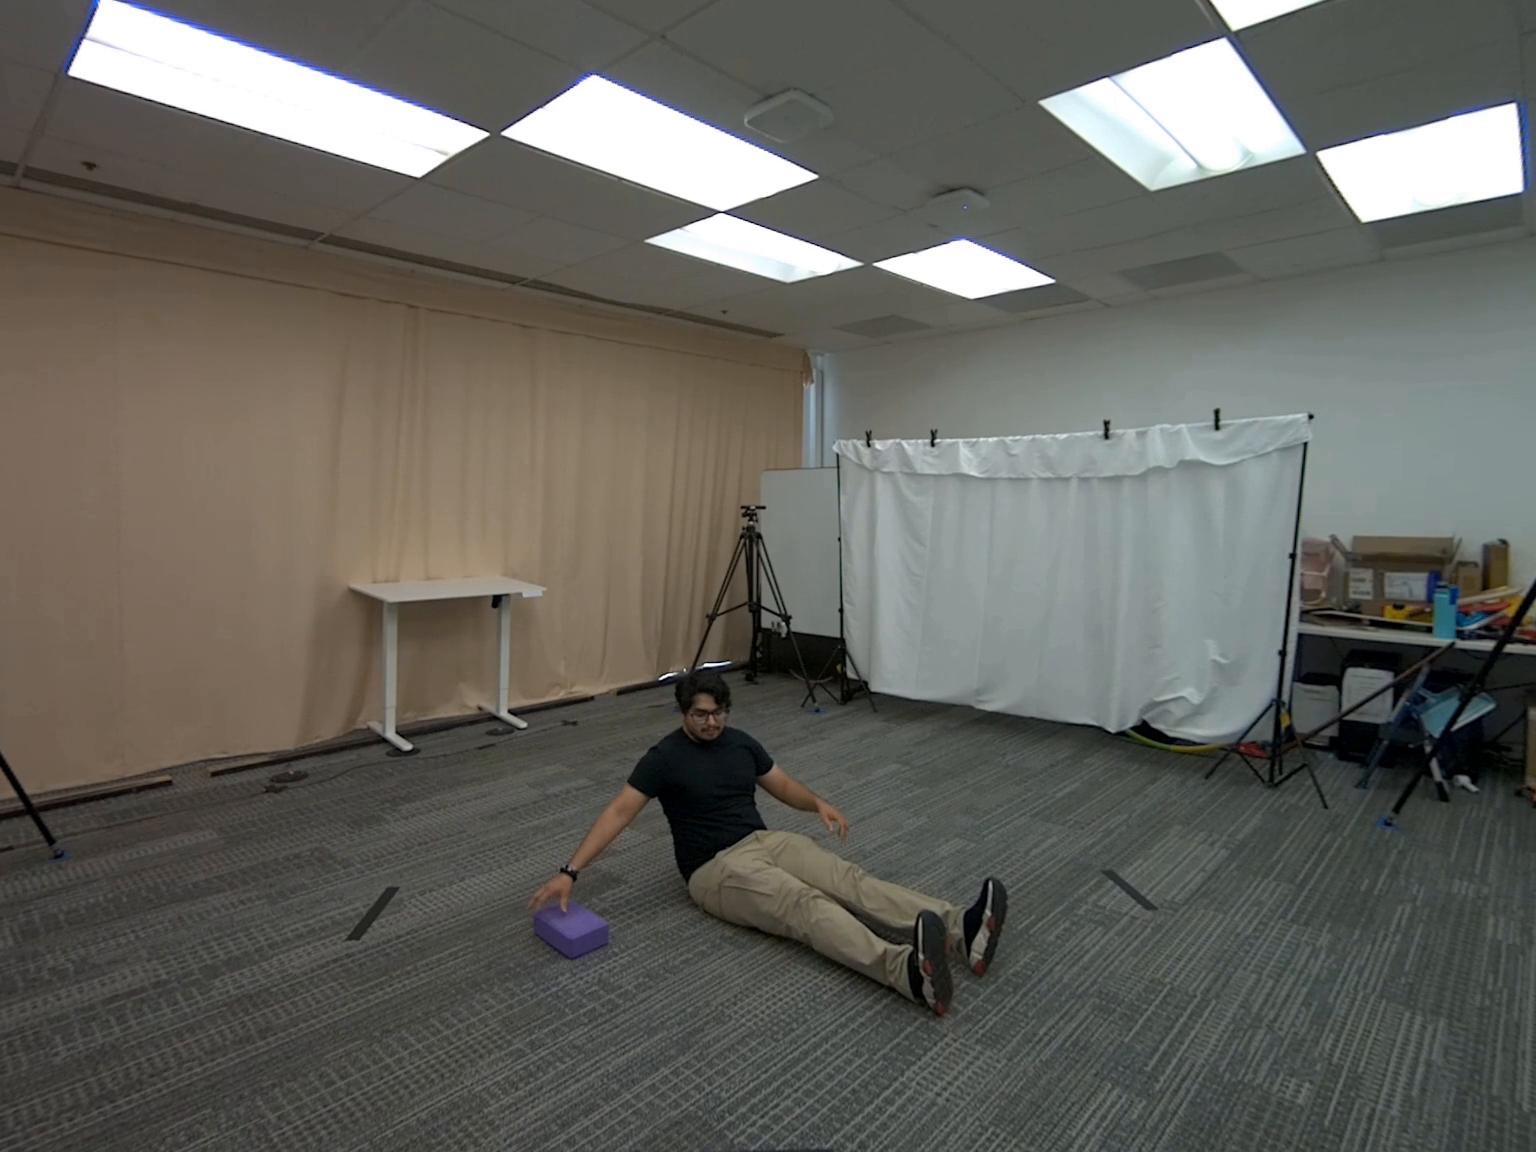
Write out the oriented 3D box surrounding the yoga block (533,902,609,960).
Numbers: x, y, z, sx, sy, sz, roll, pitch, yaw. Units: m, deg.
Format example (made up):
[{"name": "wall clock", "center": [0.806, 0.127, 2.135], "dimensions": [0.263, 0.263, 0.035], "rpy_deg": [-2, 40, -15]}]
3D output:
[{"name": "yoga block", "center": [-0.630, 1.128, 2.707], "dimensions": [0.144, 0.076, 0.237], "rpy_deg": [-5, 7, -44]}]
